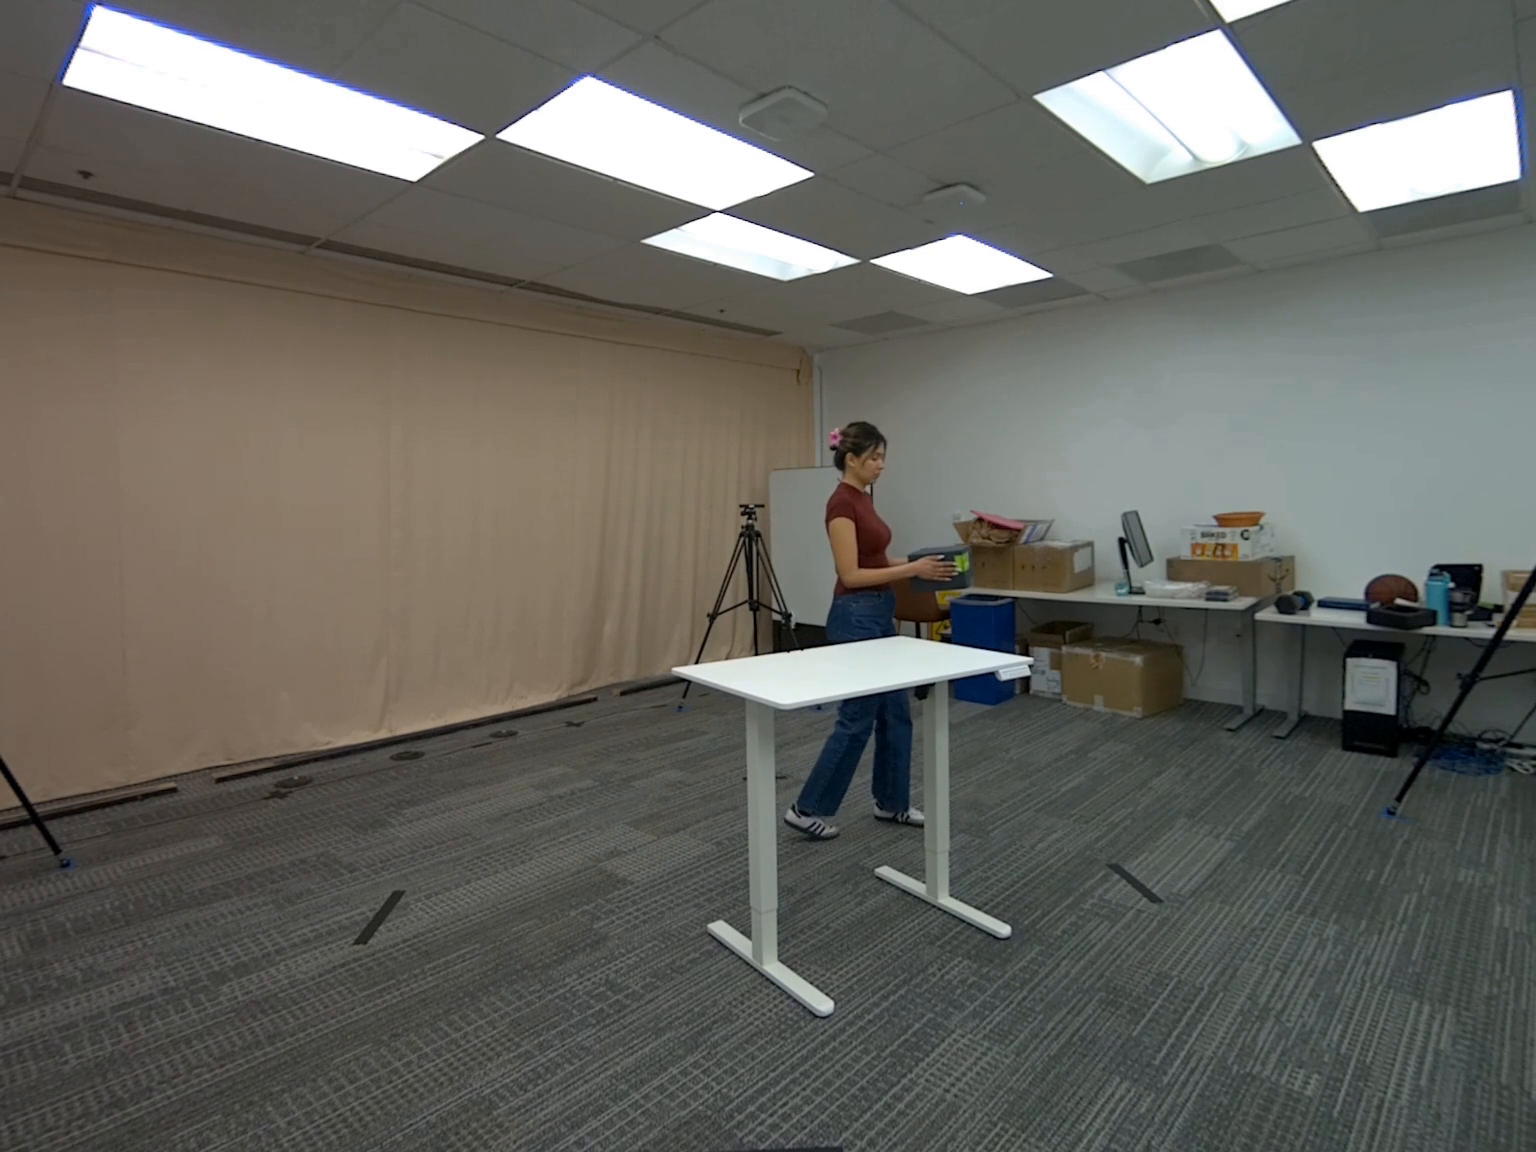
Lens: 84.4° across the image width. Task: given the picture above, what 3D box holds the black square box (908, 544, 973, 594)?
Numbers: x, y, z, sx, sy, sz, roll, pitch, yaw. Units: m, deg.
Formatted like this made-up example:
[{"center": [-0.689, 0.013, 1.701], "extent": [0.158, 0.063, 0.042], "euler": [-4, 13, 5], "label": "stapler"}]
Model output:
[{"center": [0.712, -0.033, 3.440], "extent": [0.222, 0.155, 0.223], "euler": [-5, 5, 25], "label": "black square box"}]
